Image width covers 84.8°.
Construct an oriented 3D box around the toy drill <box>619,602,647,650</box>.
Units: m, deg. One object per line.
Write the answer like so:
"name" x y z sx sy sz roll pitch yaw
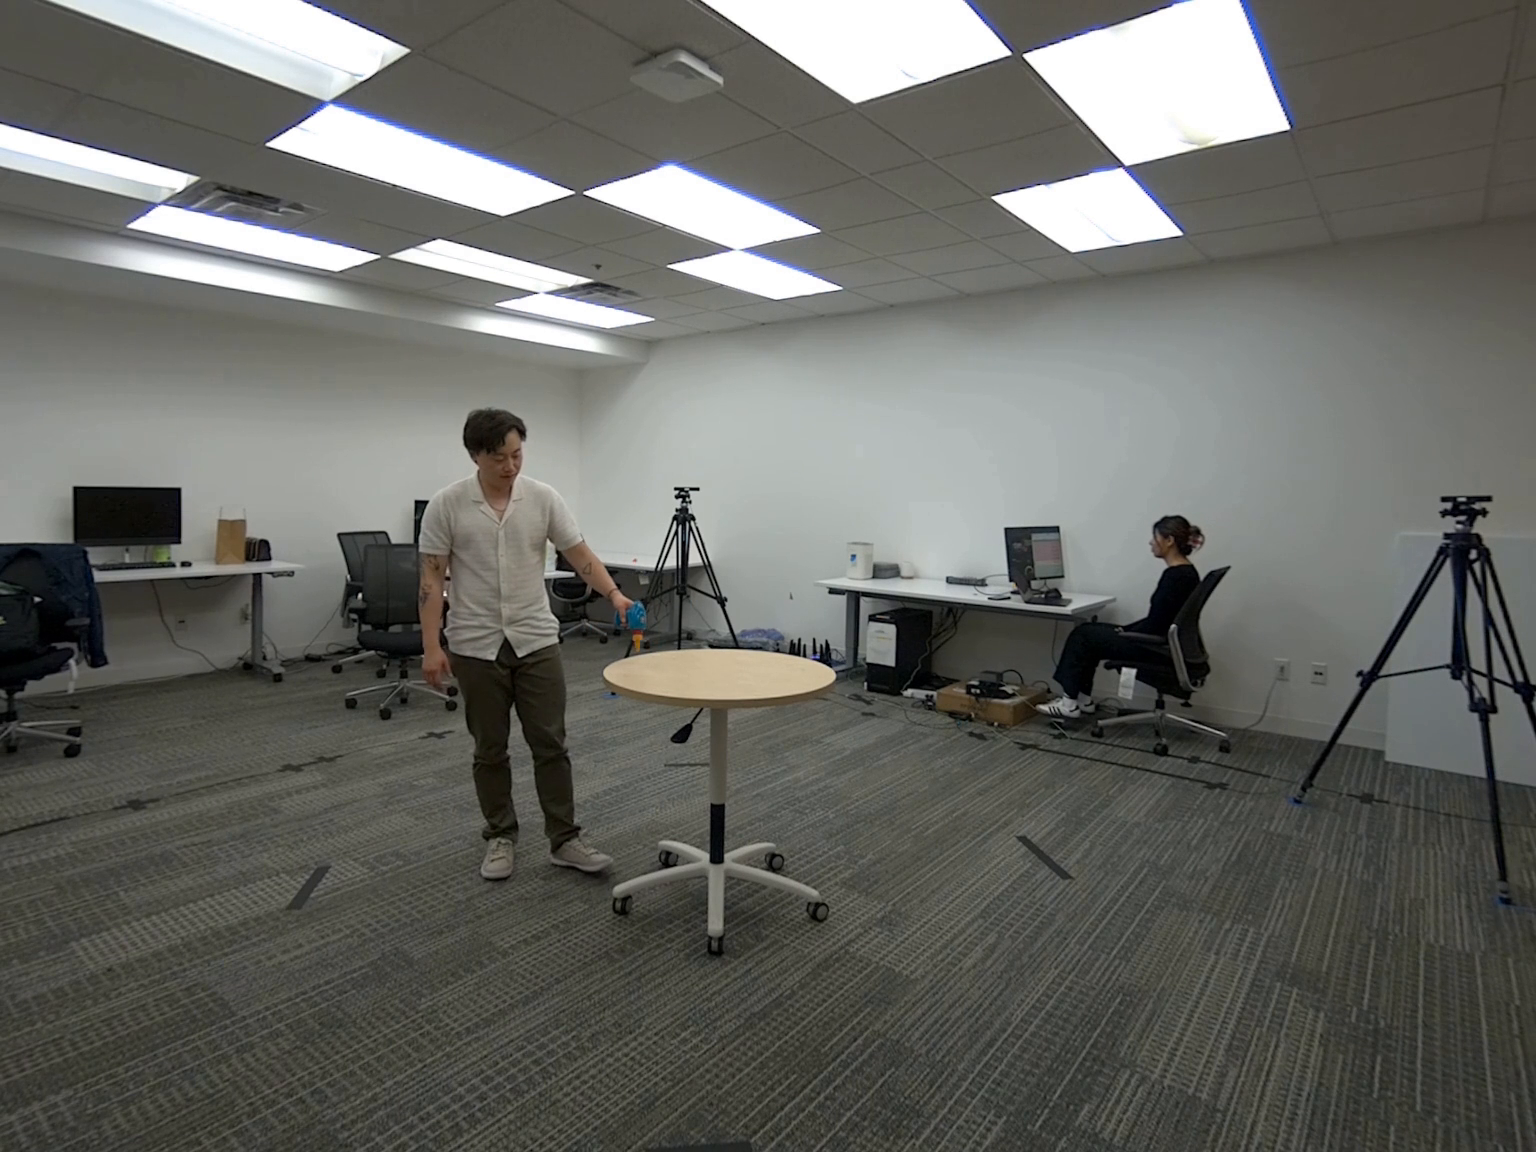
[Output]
"toy drill" -0.480 0.176 2.954 0.059 0.172 0.149 5 -14 -38
